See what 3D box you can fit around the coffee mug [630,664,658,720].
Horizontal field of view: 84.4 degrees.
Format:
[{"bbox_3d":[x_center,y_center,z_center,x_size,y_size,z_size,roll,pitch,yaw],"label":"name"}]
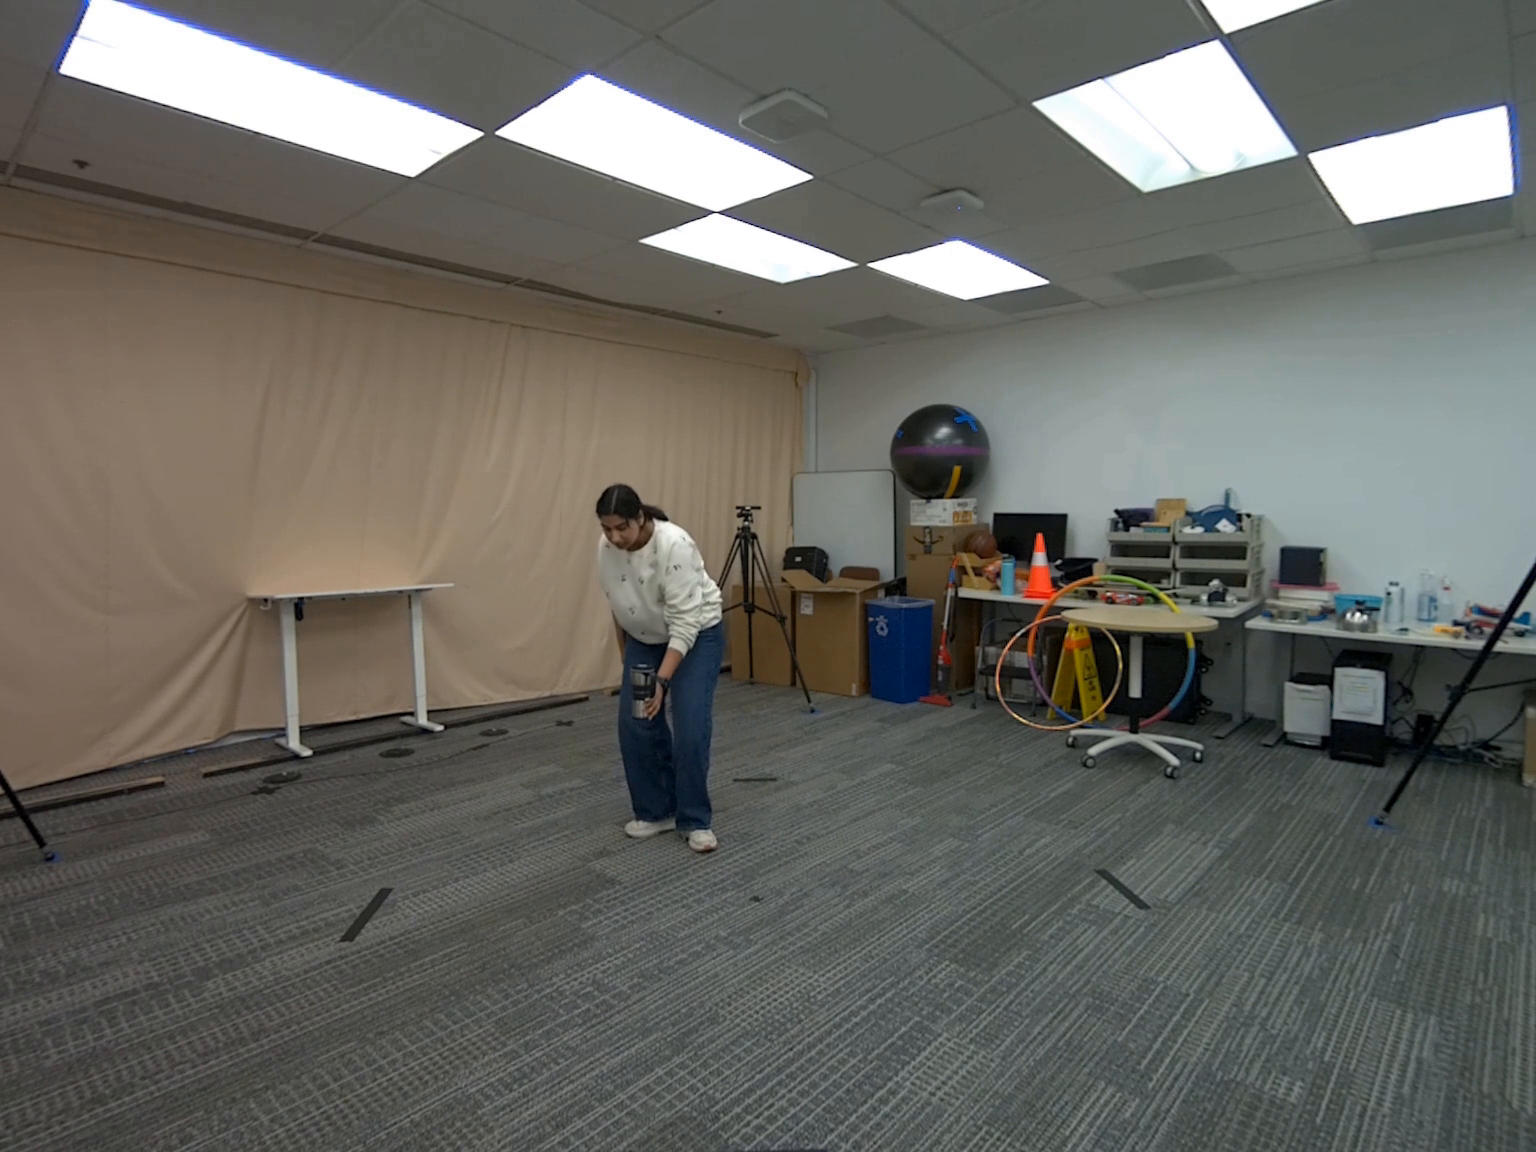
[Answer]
[{"bbox_3d":[-0.468,0.441,3.148,0.086,0.204,0.123,3,-5,-15],"label":"coffee mug"}]
